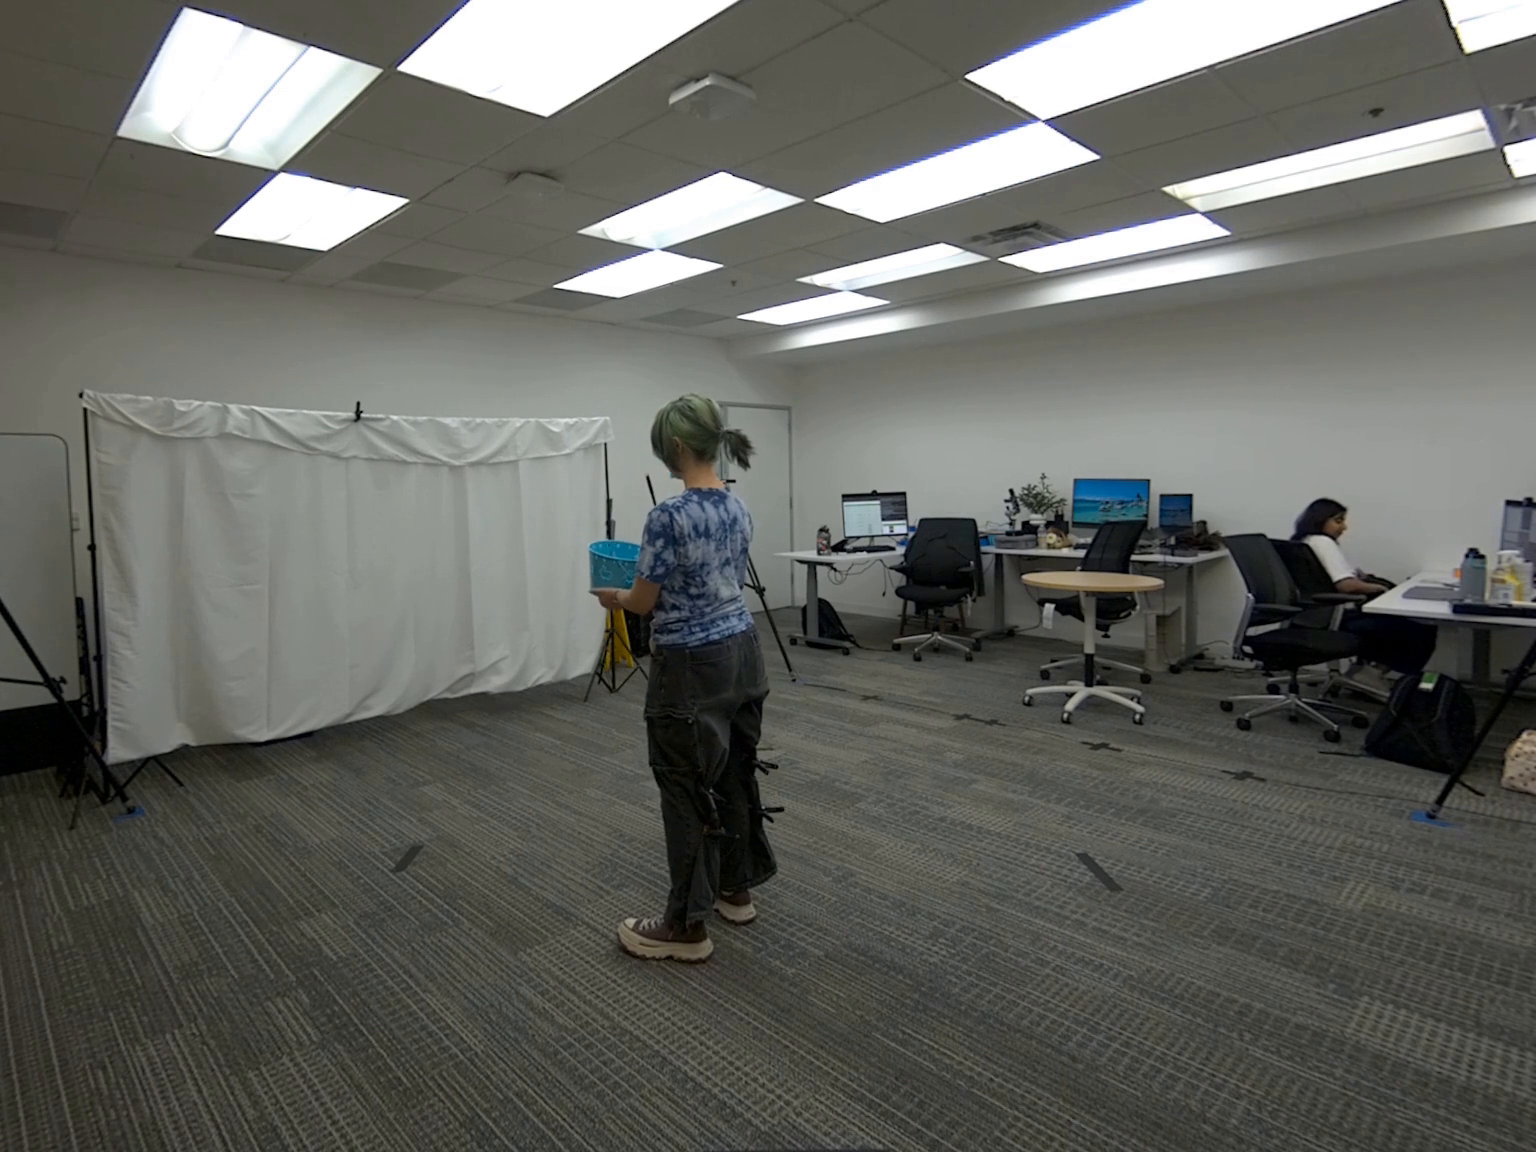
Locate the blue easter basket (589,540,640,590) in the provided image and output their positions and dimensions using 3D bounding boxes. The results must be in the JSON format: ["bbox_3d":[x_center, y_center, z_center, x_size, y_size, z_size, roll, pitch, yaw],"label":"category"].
[{"bbox_3d":[-0.488,-0.014,2.868,0.243,0.154,0.247,7,14,-3],"label":"blue easter basket"}]
